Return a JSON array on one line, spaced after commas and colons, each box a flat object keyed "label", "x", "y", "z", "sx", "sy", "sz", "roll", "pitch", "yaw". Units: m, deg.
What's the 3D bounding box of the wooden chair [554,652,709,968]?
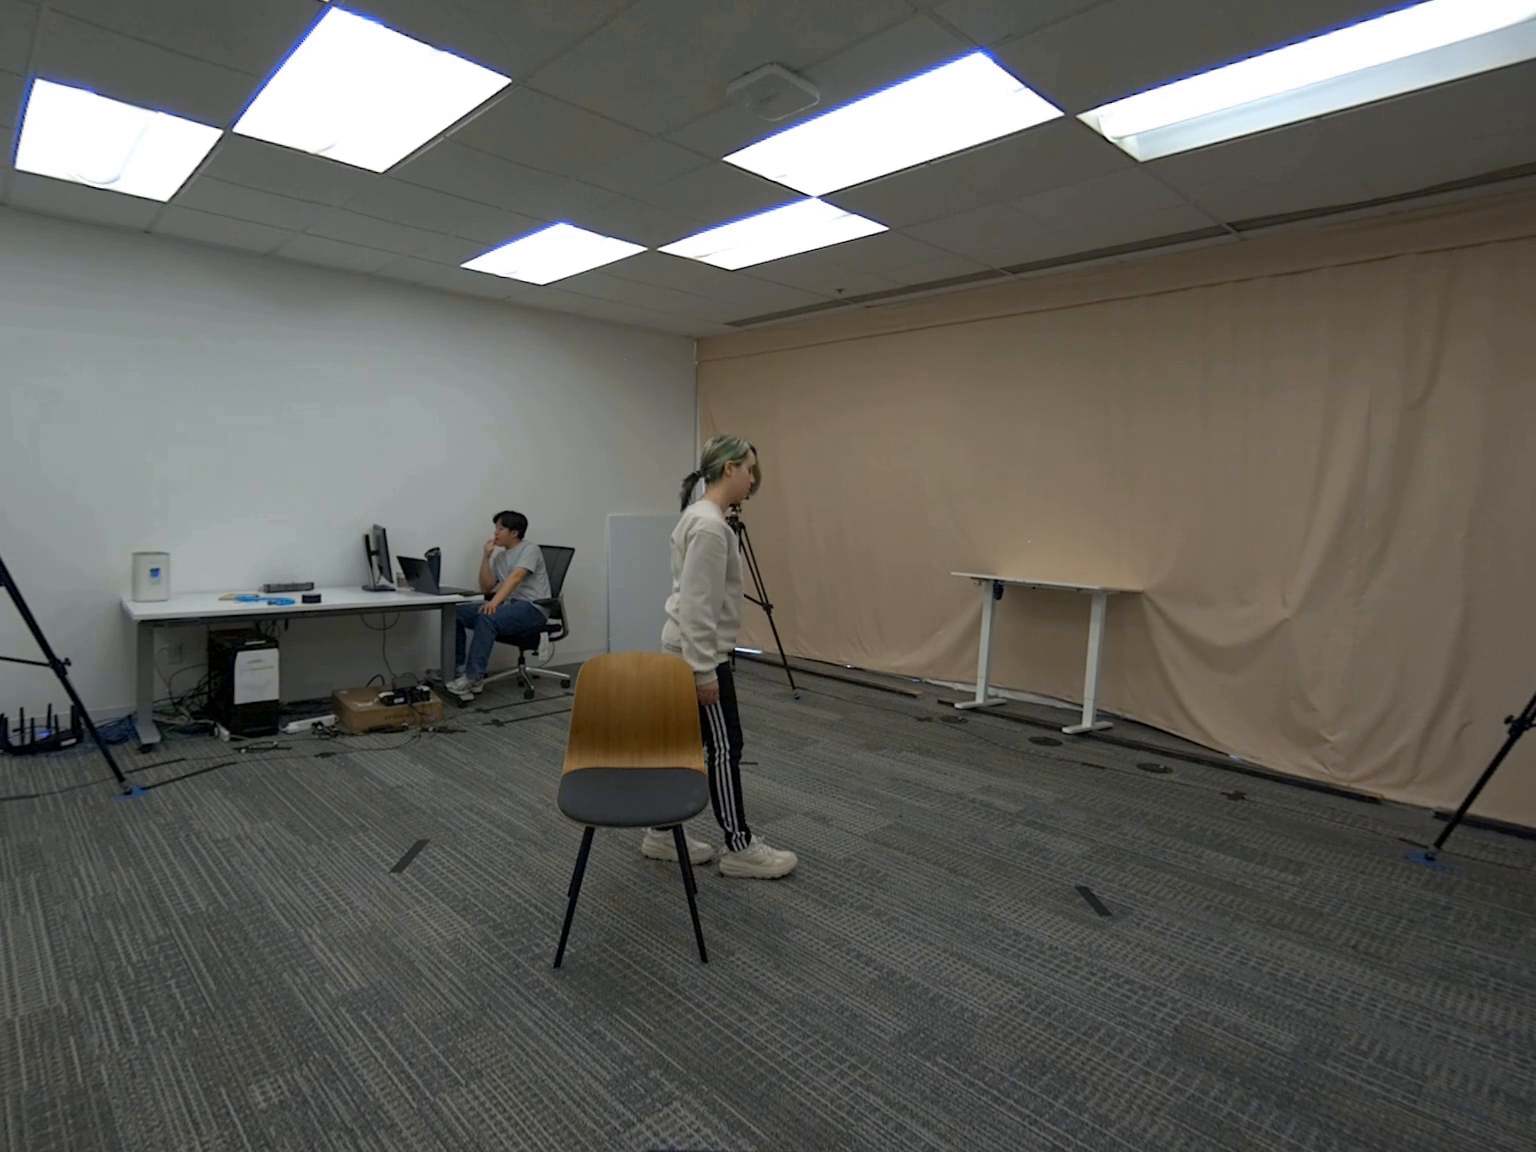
[{"label": "wooden chair", "x": -0.423, "y": 0.714, "z": 2.669, "sx": 0.475, "sy": 0.878, "sz": 0.527, "roll": 1, "pitch": 0, "yaw": -9}]
